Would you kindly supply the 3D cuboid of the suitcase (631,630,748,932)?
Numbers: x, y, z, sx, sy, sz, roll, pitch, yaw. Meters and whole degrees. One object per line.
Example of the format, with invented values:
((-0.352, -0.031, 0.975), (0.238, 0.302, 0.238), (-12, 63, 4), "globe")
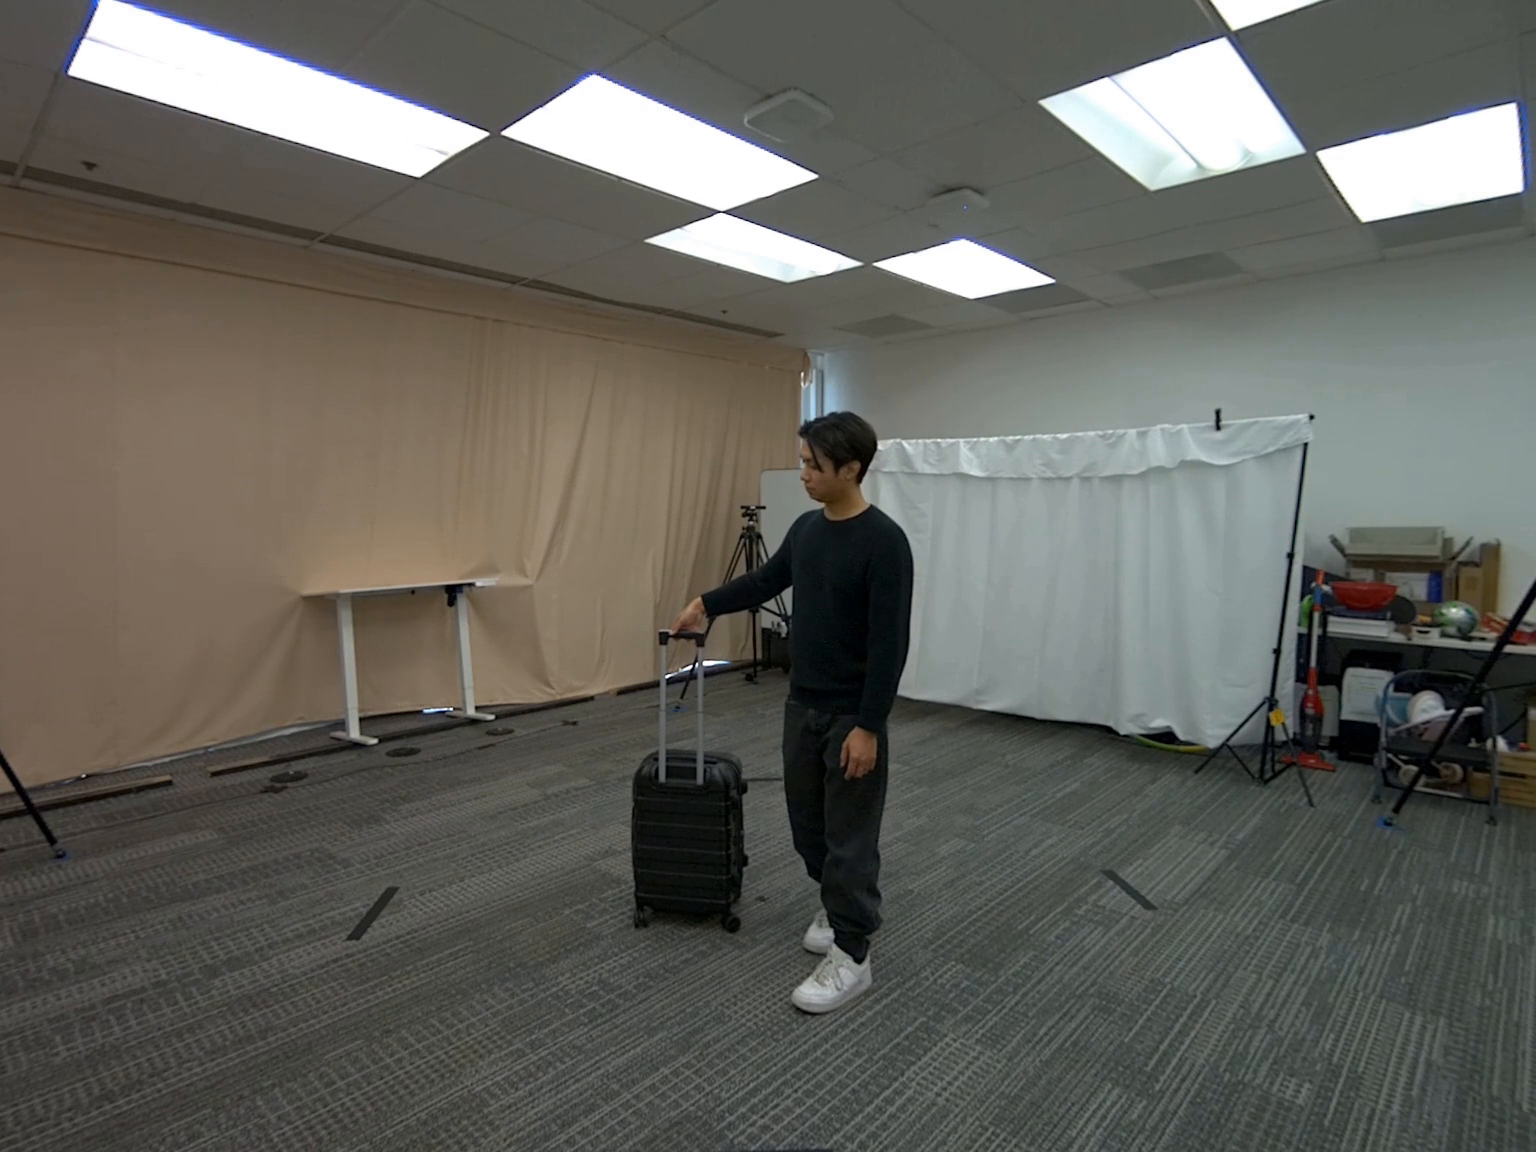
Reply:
((-0.271, 0.679, 2.881), (0.388, 0.979, 0.254), (0, 0, 10), "suitcase")
